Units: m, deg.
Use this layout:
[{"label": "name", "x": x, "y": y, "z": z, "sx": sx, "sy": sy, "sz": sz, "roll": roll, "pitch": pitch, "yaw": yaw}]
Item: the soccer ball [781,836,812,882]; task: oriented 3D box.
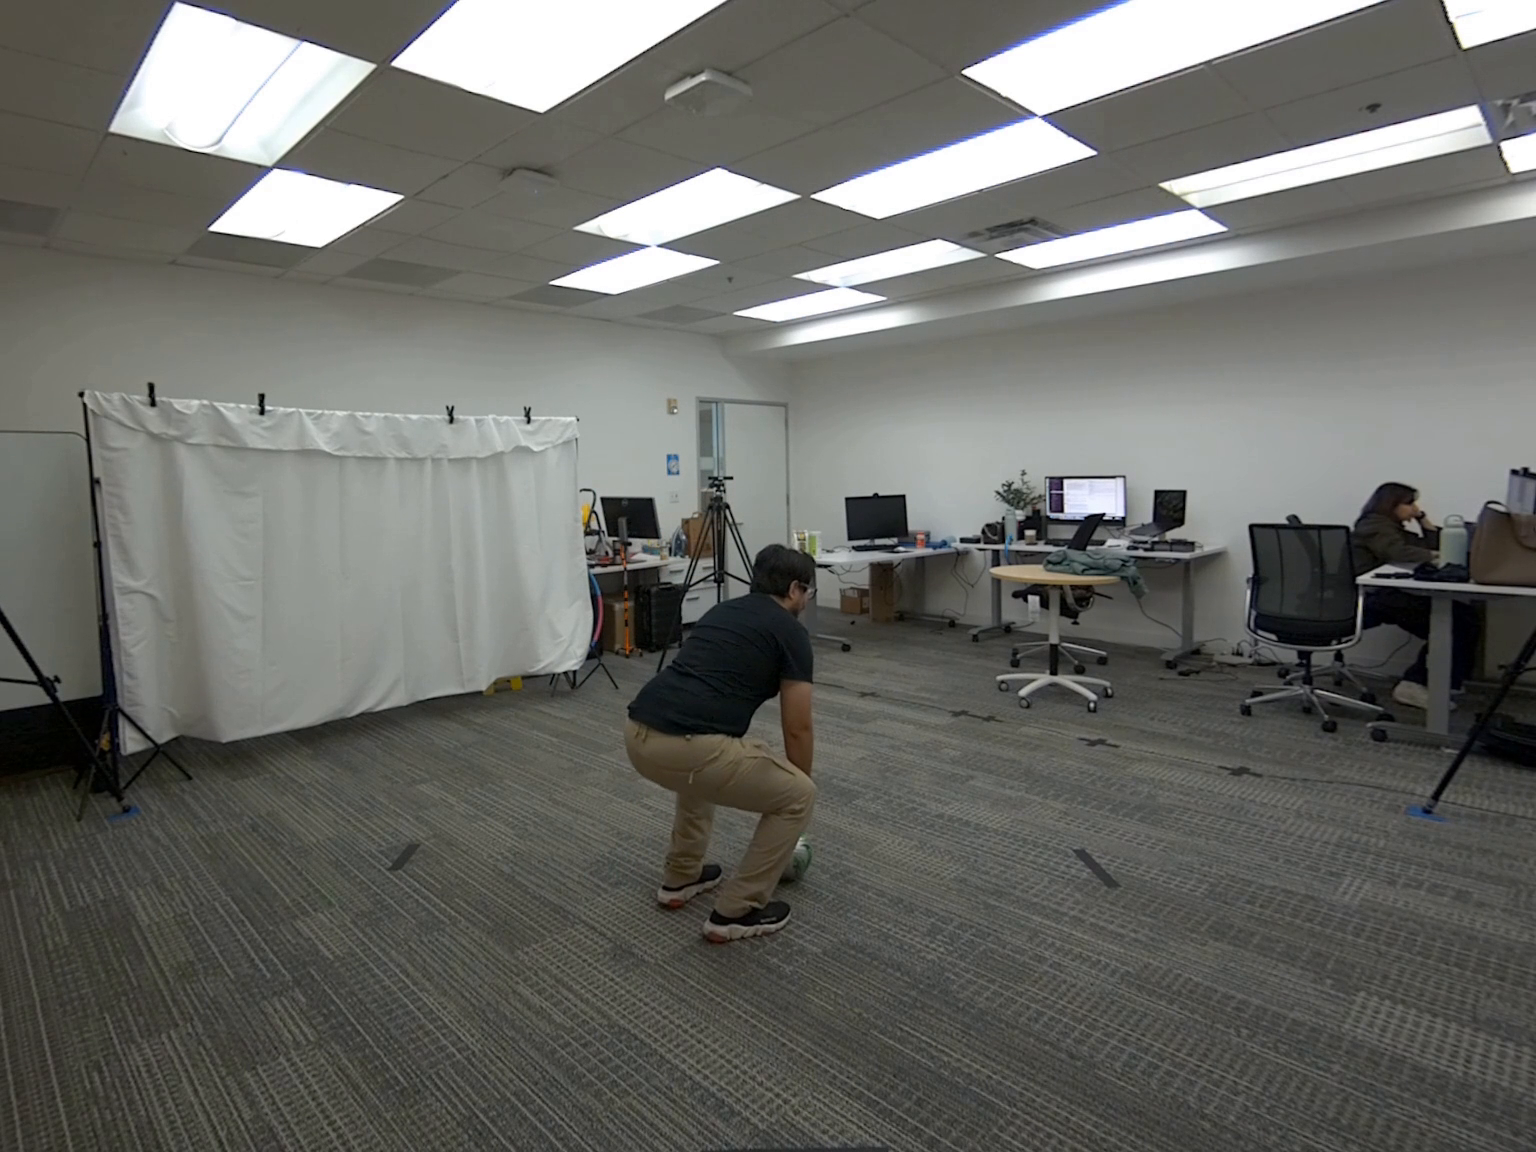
[{"label": "soccer ball", "x": 0.065, "y": 0.955, "z": 2.967, "sx": 0.187, "sy": 0.187, "sz": 0.188, "roll": -1, "pitch": 5, "yaw": -2}]
